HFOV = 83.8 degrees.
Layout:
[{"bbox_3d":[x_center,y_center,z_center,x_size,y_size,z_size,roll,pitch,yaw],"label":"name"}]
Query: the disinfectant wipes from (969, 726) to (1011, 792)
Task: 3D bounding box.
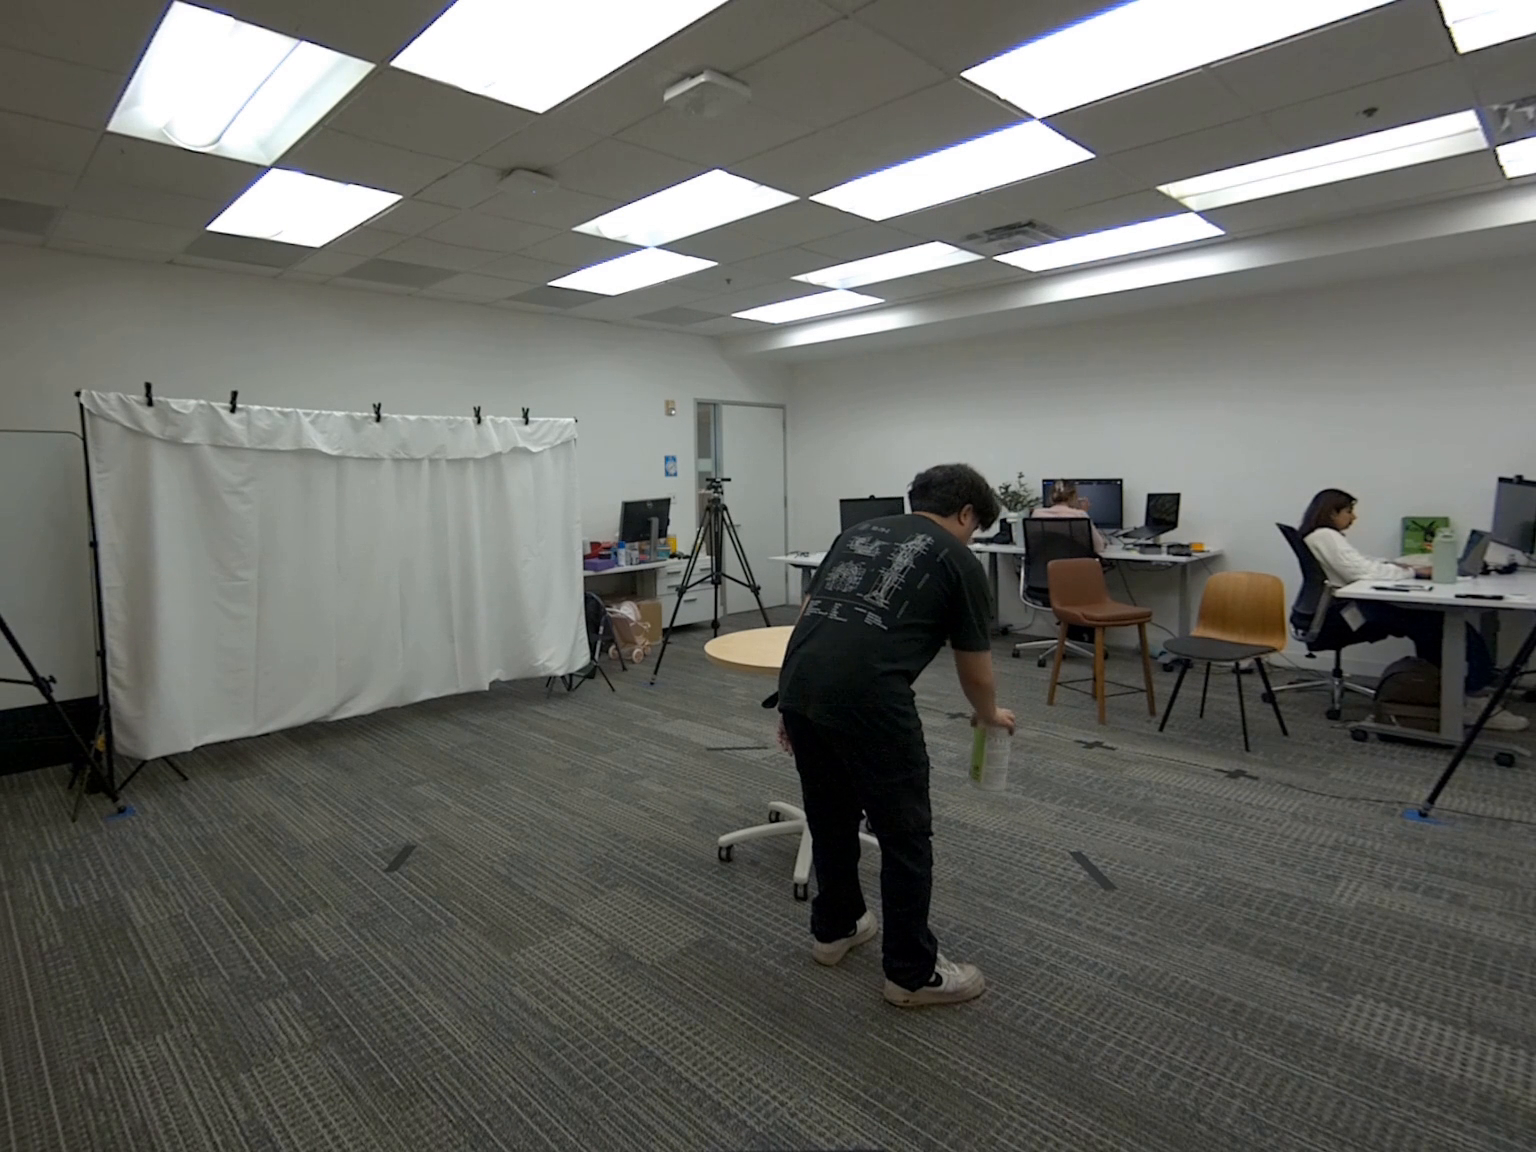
[{"bbox_3d":[0.681,0.541,2.606,0.117,0.217,0.118,4,3,-2],"label":"disinfectant wipes"}]
